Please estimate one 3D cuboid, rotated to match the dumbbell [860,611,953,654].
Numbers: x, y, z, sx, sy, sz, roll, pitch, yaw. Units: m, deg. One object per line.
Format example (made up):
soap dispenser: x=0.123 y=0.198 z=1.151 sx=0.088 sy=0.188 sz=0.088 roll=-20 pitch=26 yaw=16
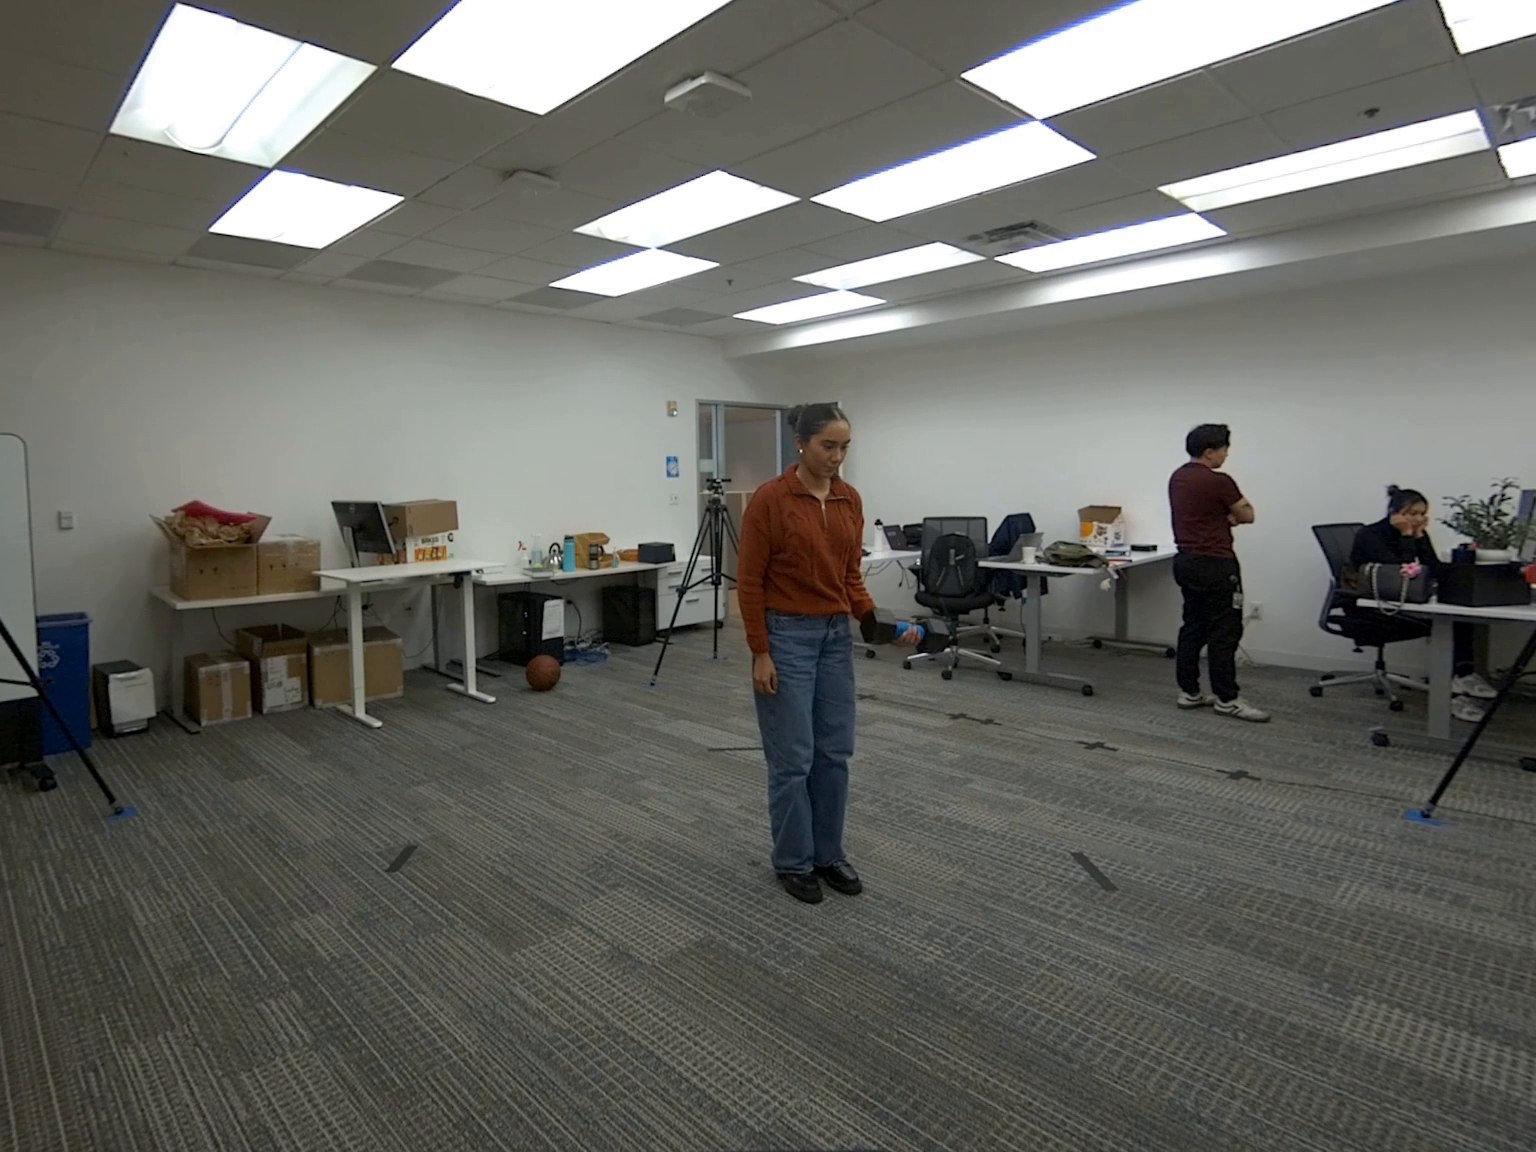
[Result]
dumbbell: x=0.447 y=0.182 z=2.809 sx=0.287 sy=0.108 sz=0.127 roll=12 pitch=41 yaw=-21
